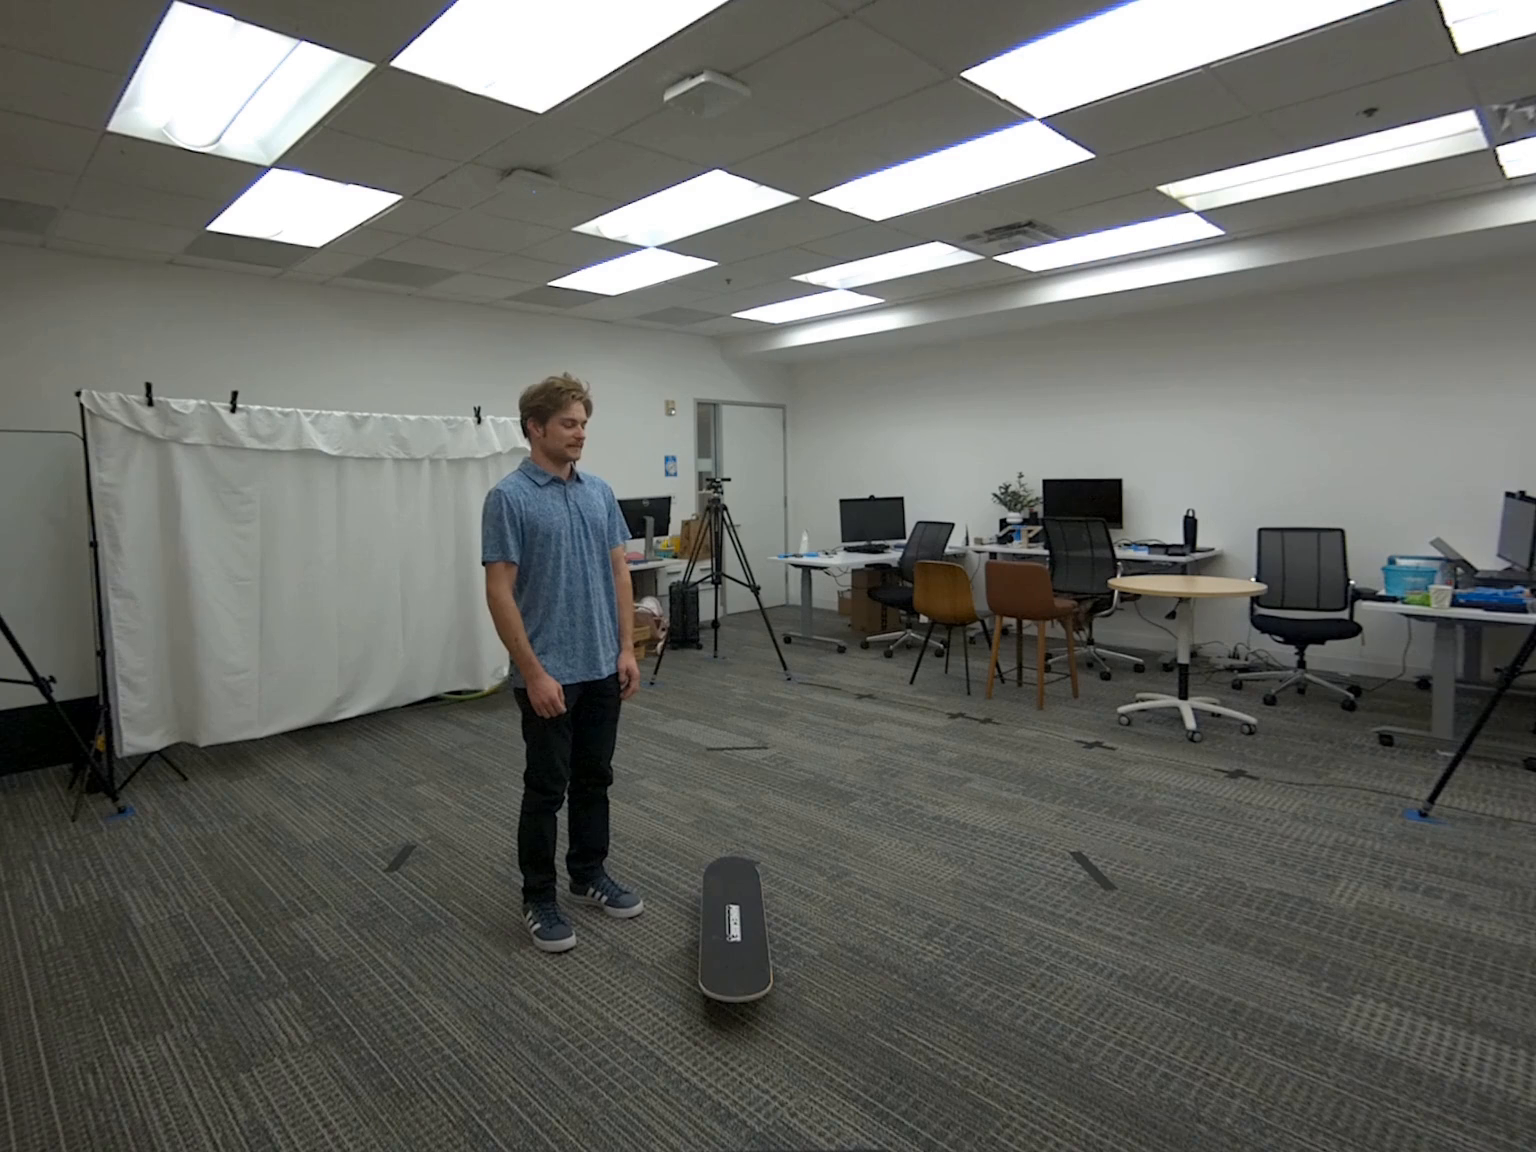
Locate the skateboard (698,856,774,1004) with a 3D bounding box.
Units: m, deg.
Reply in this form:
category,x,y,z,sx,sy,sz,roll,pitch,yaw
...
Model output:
category,x,y,z,sx,sy,sz,roll,pitch,yaw
skateboard,-0.100,1.054,2.526,0.193,0.110,0.791,-1,7,-3
